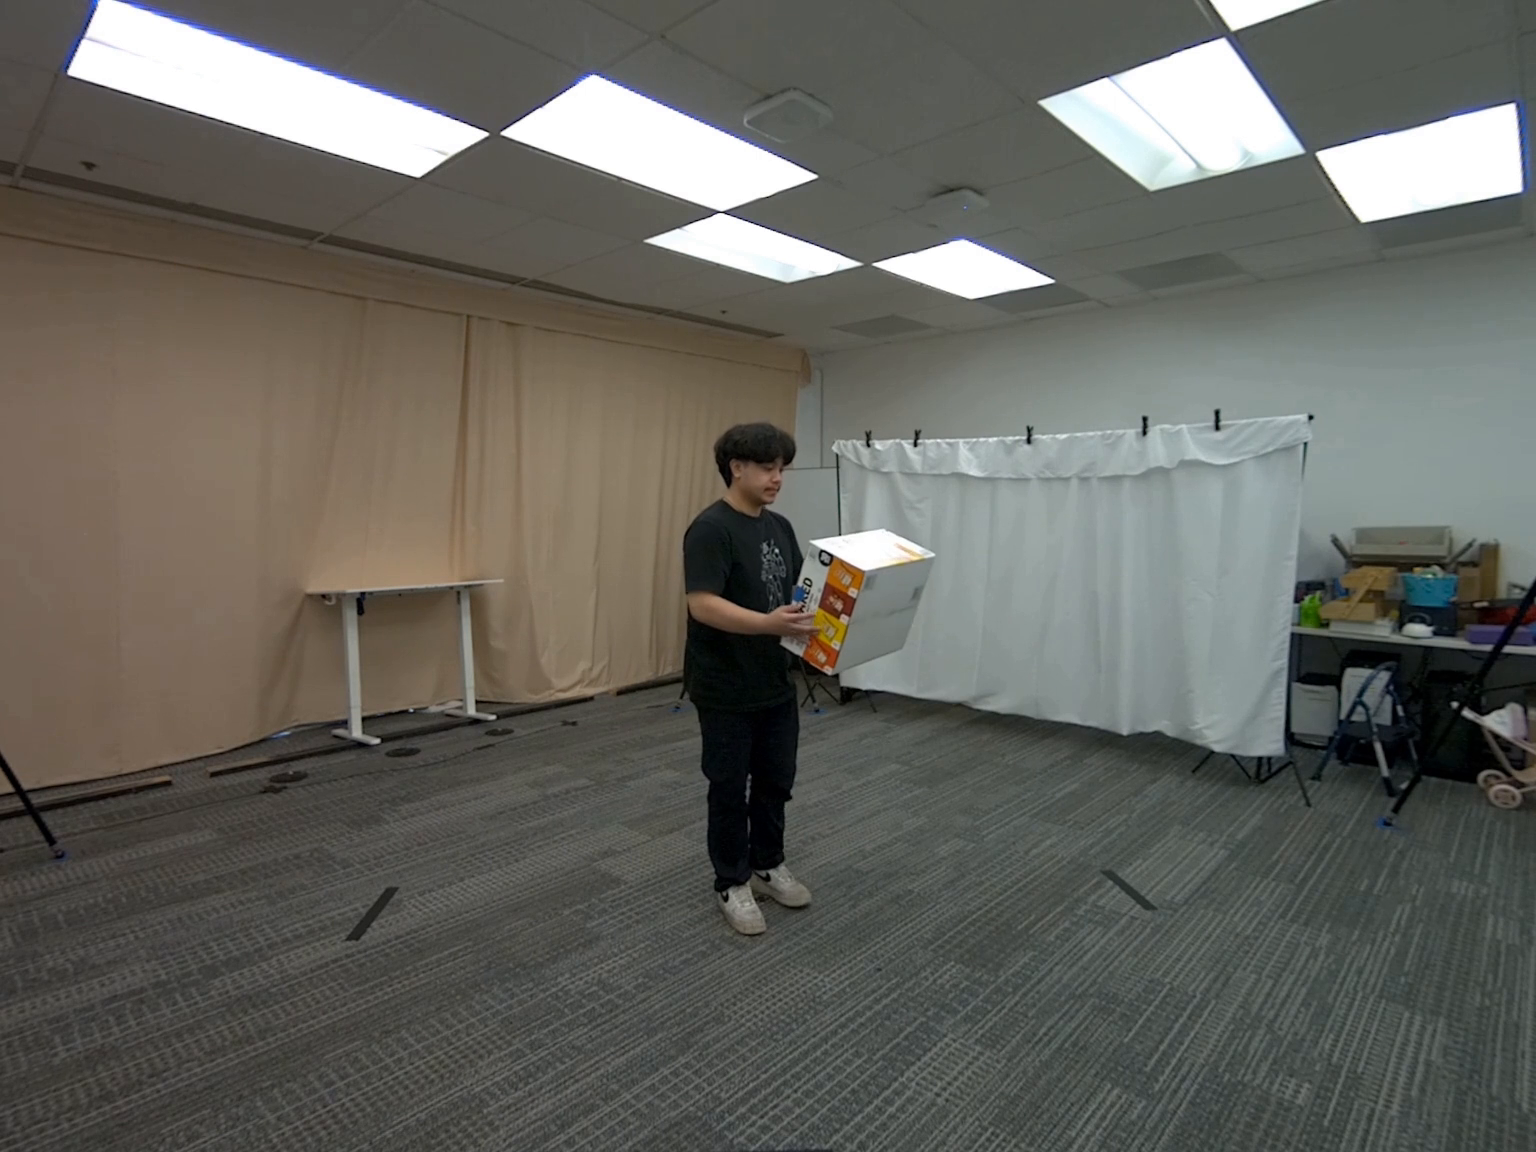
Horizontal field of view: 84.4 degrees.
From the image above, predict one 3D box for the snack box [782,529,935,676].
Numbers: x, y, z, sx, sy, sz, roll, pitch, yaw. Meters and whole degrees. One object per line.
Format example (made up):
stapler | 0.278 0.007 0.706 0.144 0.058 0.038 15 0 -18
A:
snack box | 0.284 0.072 2.554 0.213 0.338 0.393 31 25 34
